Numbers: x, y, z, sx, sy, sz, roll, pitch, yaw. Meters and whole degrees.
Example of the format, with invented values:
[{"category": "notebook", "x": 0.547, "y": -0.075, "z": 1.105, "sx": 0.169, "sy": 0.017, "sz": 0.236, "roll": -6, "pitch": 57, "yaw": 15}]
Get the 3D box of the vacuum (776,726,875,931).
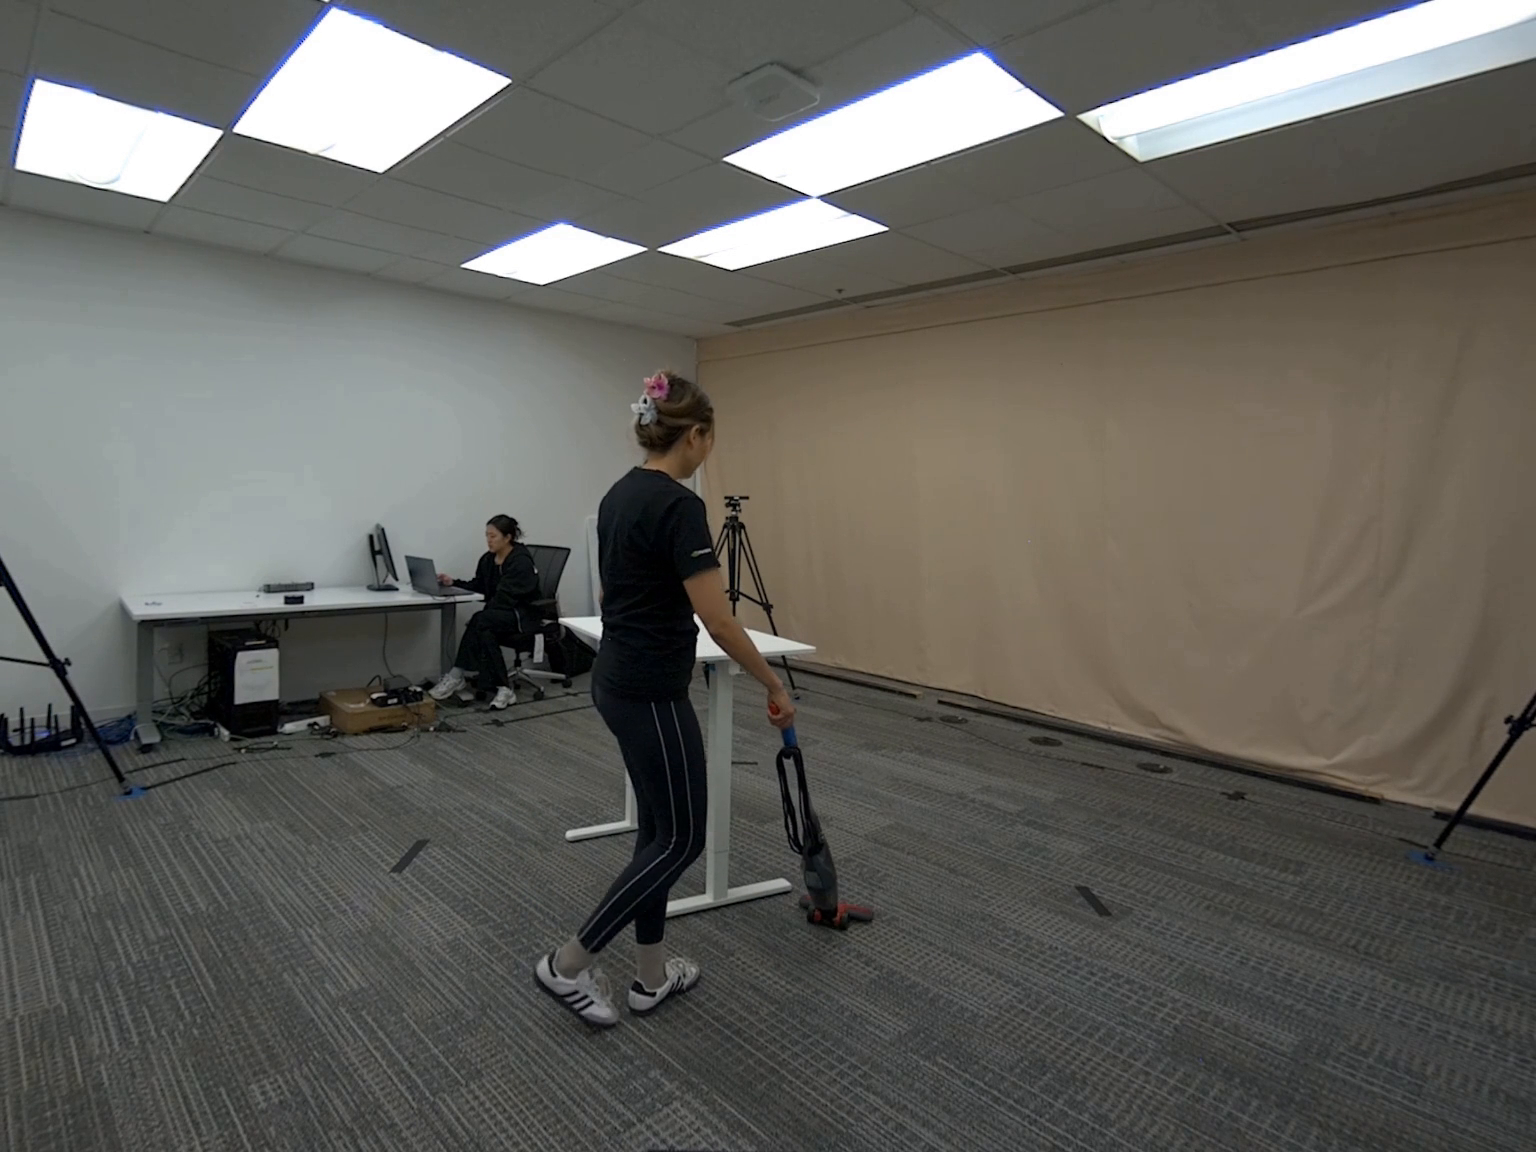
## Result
[{"category": "vacuum", "x": 0.103, "y": 0.733, "z": 2.485, "sx": 0.258, "sy": 1.021, "sz": 0.144, "roll": 8, "pitch": 43, "yaw": 28}]
